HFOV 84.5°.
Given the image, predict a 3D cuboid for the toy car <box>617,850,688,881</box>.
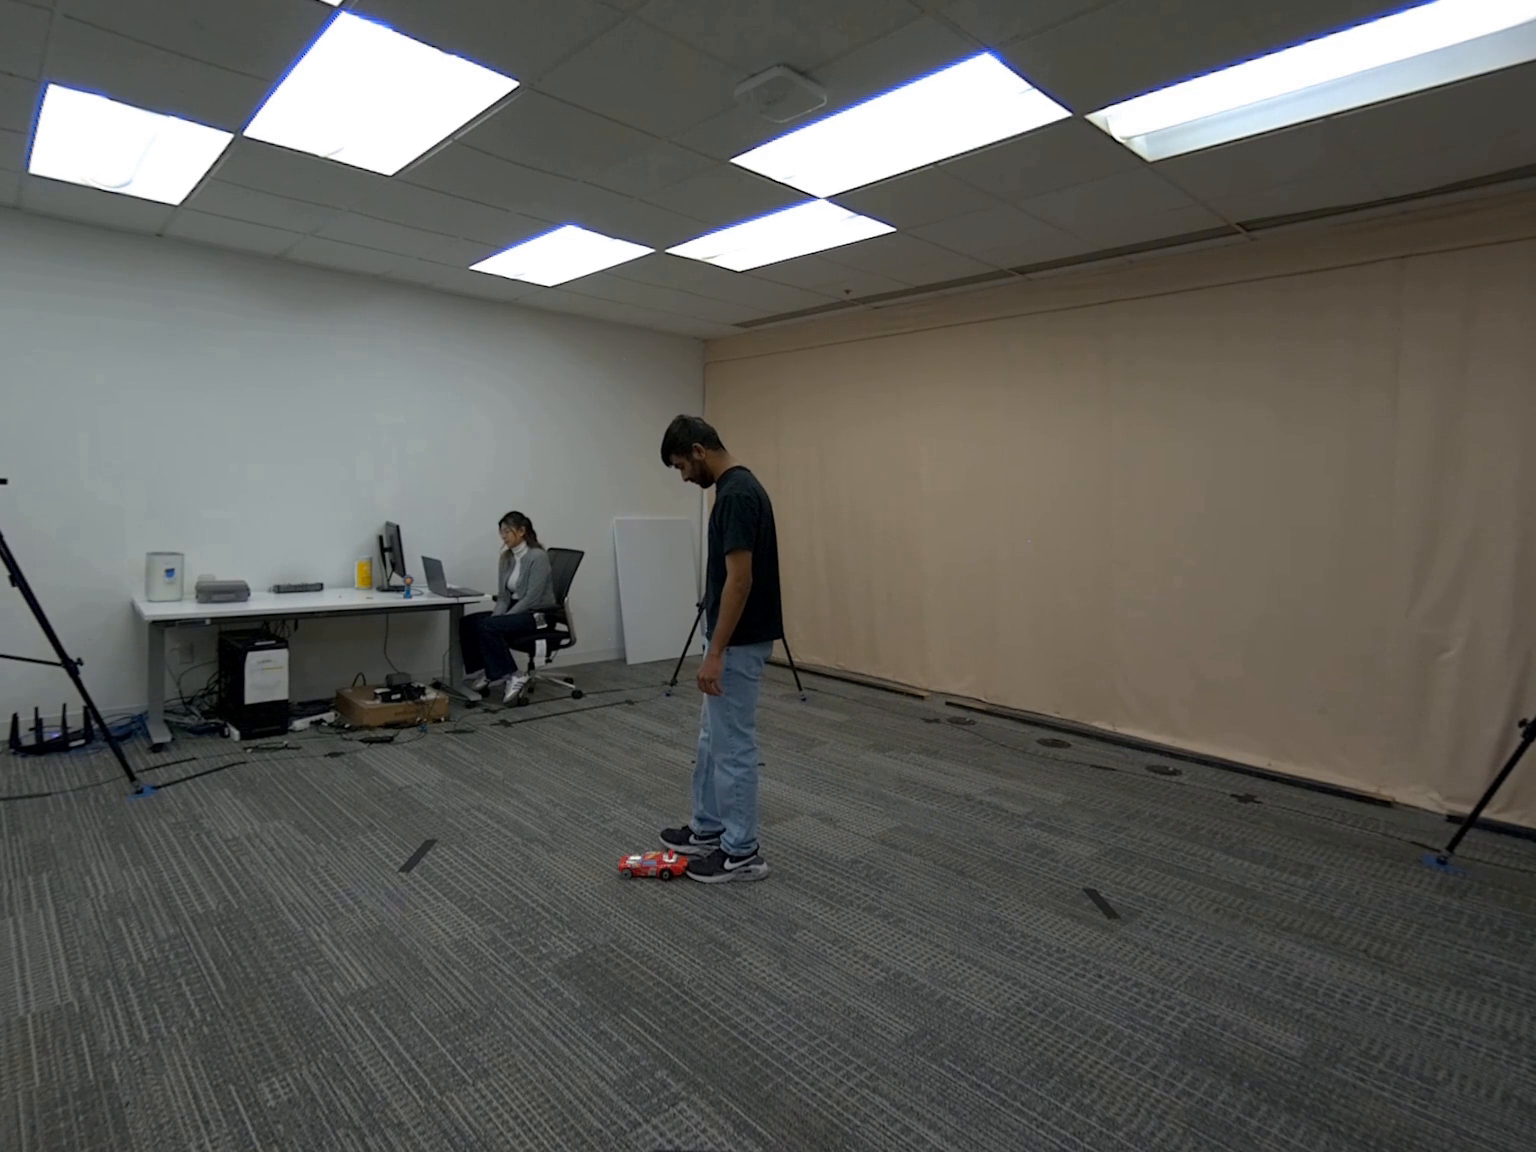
[{"bbox_3d":[-0.421,1.059,3.104,0.255,0.083,0.130,-10,3,3],"label":"toy car"}]
